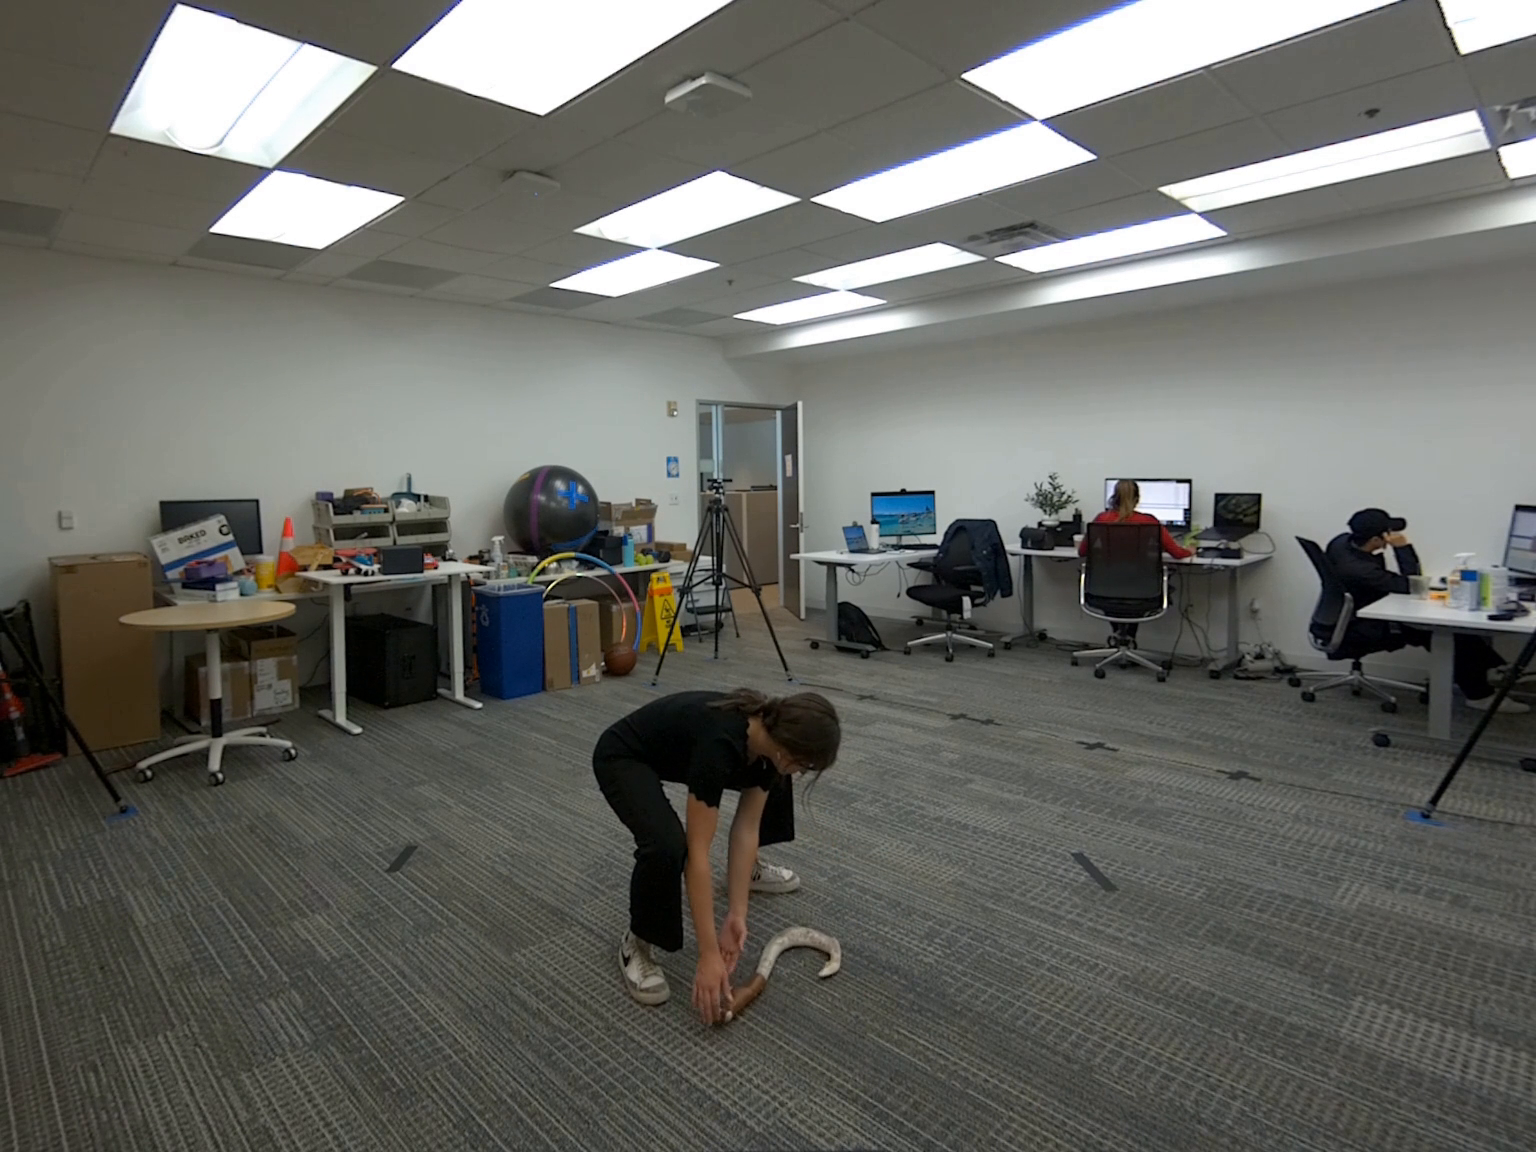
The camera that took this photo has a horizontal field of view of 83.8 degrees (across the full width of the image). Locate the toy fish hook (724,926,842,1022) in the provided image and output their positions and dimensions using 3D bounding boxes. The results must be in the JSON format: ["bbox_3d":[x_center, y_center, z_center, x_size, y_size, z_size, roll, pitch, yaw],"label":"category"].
[{"bbox_3d":[0.056,1.108,2.375,0.230,0.048,0.496,0,7,29],"label":"toy fish hook"}]
